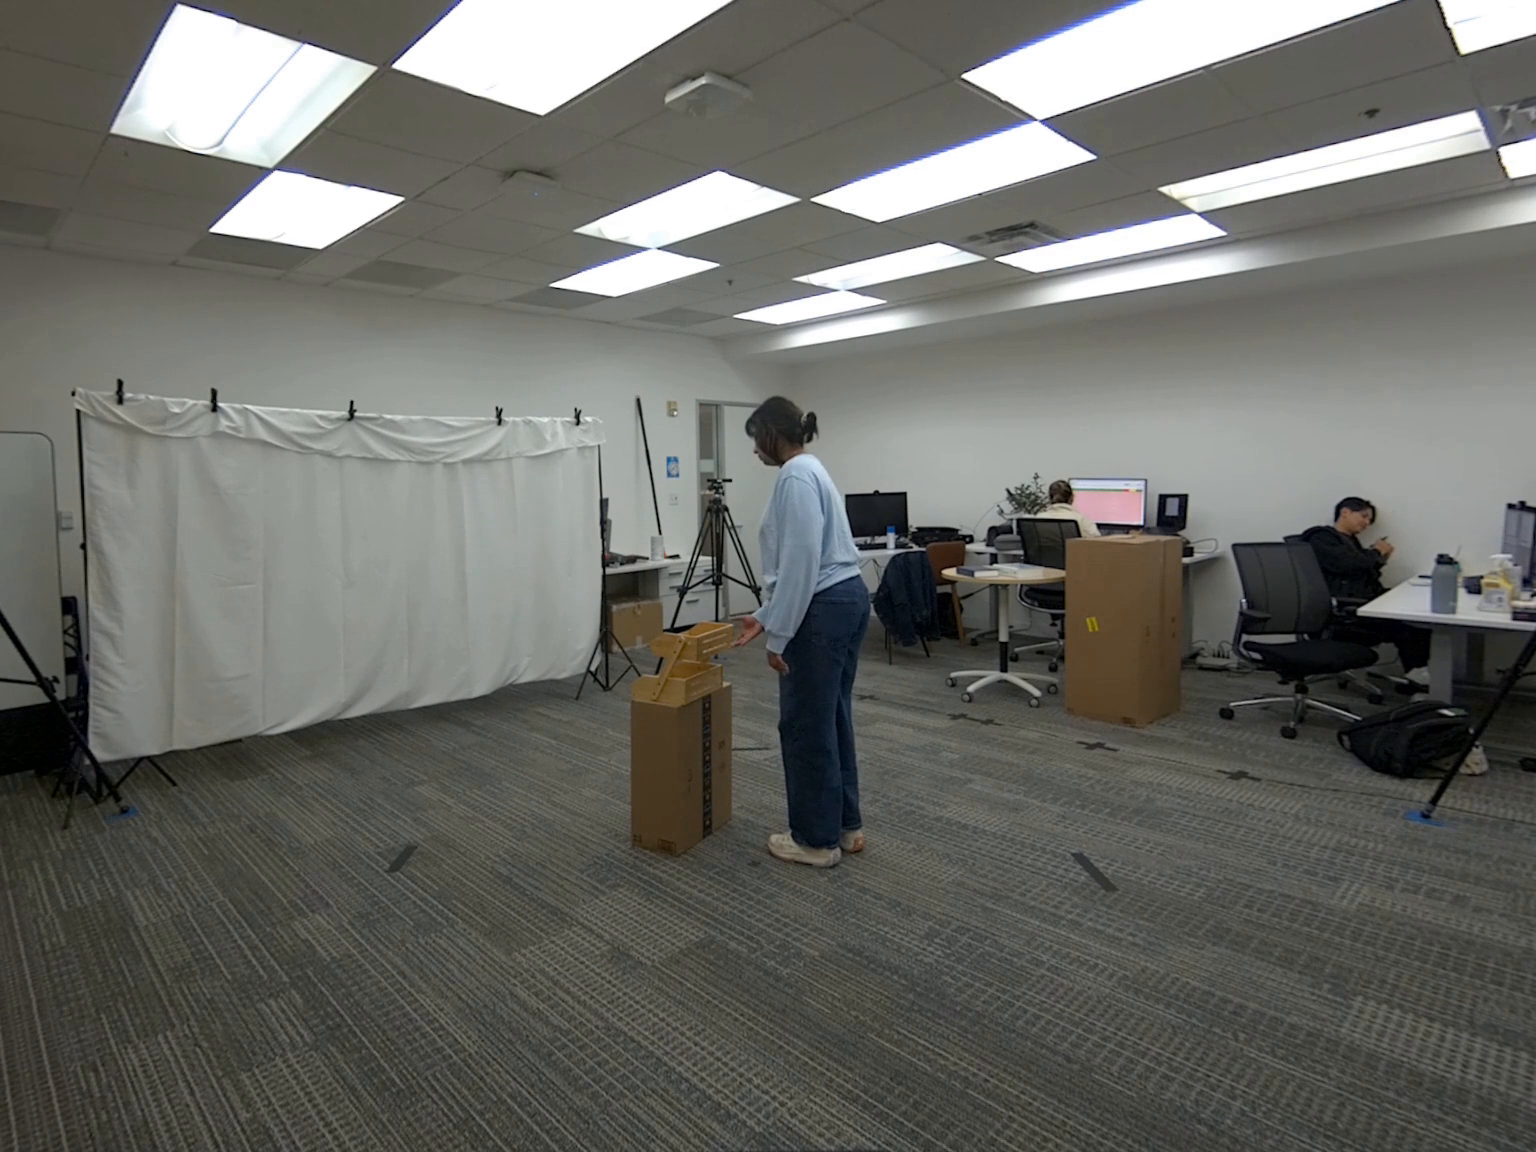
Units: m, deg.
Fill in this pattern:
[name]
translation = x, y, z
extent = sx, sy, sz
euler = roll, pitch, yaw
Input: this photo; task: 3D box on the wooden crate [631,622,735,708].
[wooden crate]
translation = -0.331, 0.324, 3.337
extent = 0.310, 0.272, 0.318
euler = 4, 7, 27
